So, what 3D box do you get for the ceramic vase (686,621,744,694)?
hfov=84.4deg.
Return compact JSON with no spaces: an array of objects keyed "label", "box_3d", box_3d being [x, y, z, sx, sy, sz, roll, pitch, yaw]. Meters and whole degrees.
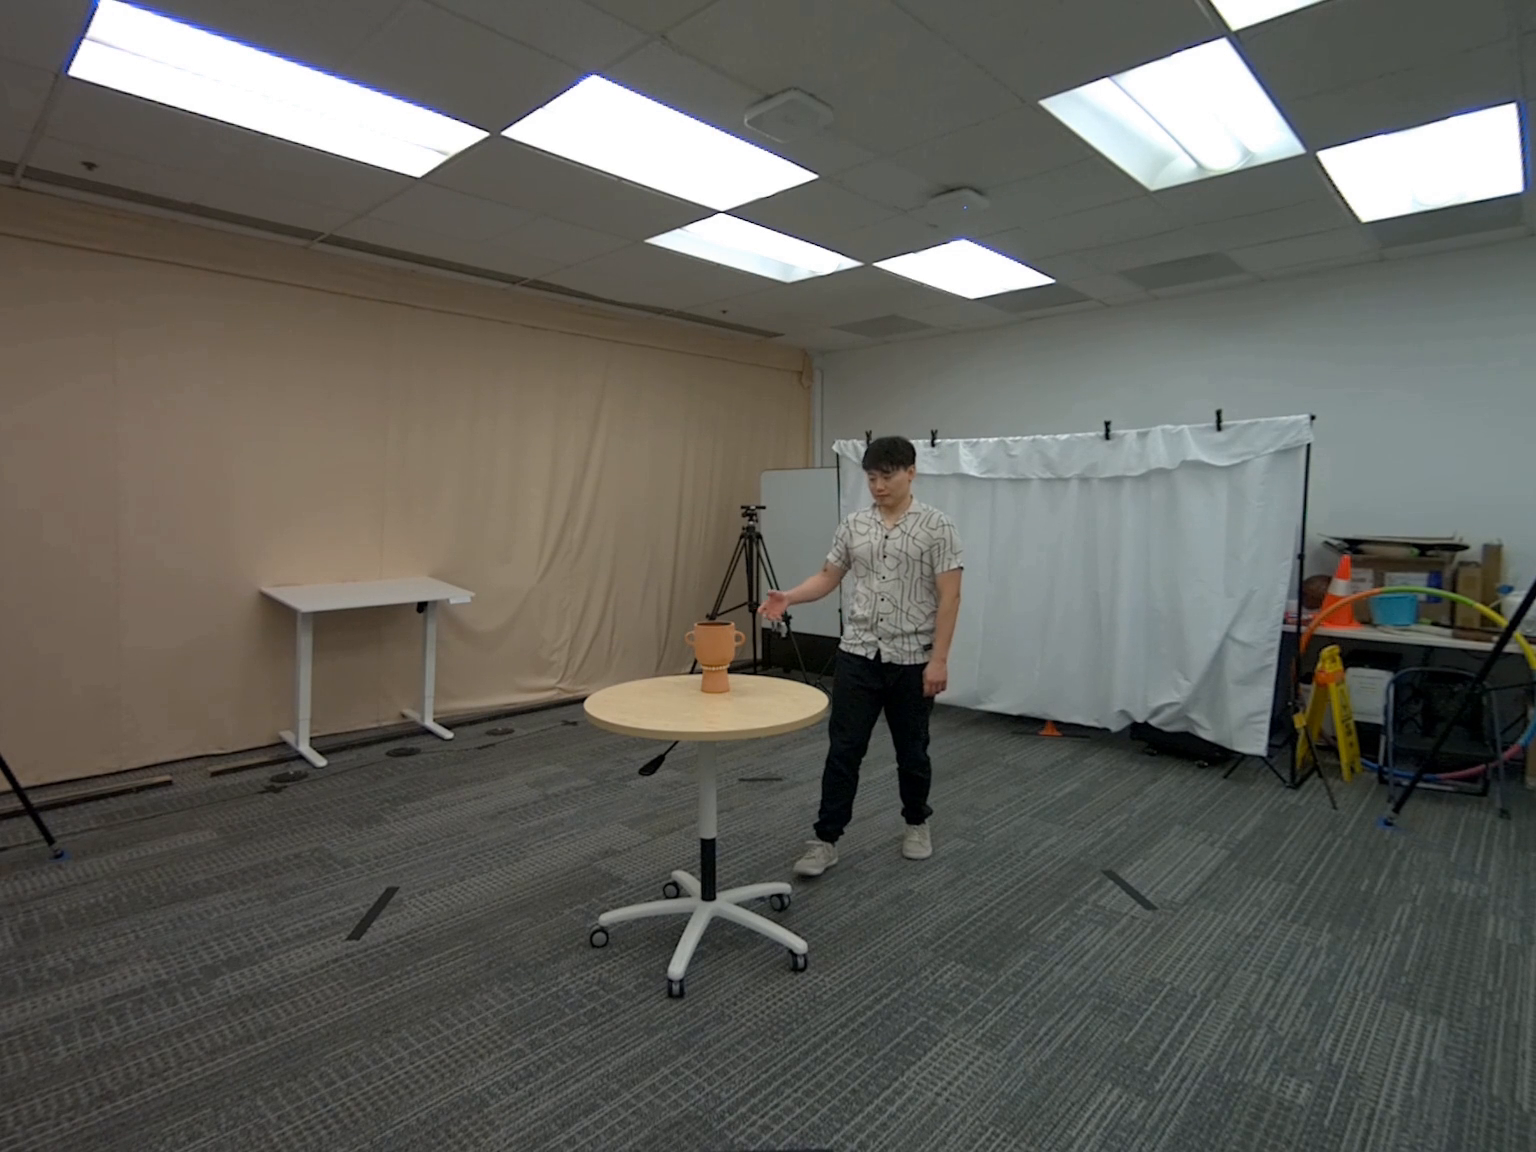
[{"label":"ceramic vase","box_3d":[-0.173,0.269,2.771,0.164,0.219,0.130,3,5,42]}]
